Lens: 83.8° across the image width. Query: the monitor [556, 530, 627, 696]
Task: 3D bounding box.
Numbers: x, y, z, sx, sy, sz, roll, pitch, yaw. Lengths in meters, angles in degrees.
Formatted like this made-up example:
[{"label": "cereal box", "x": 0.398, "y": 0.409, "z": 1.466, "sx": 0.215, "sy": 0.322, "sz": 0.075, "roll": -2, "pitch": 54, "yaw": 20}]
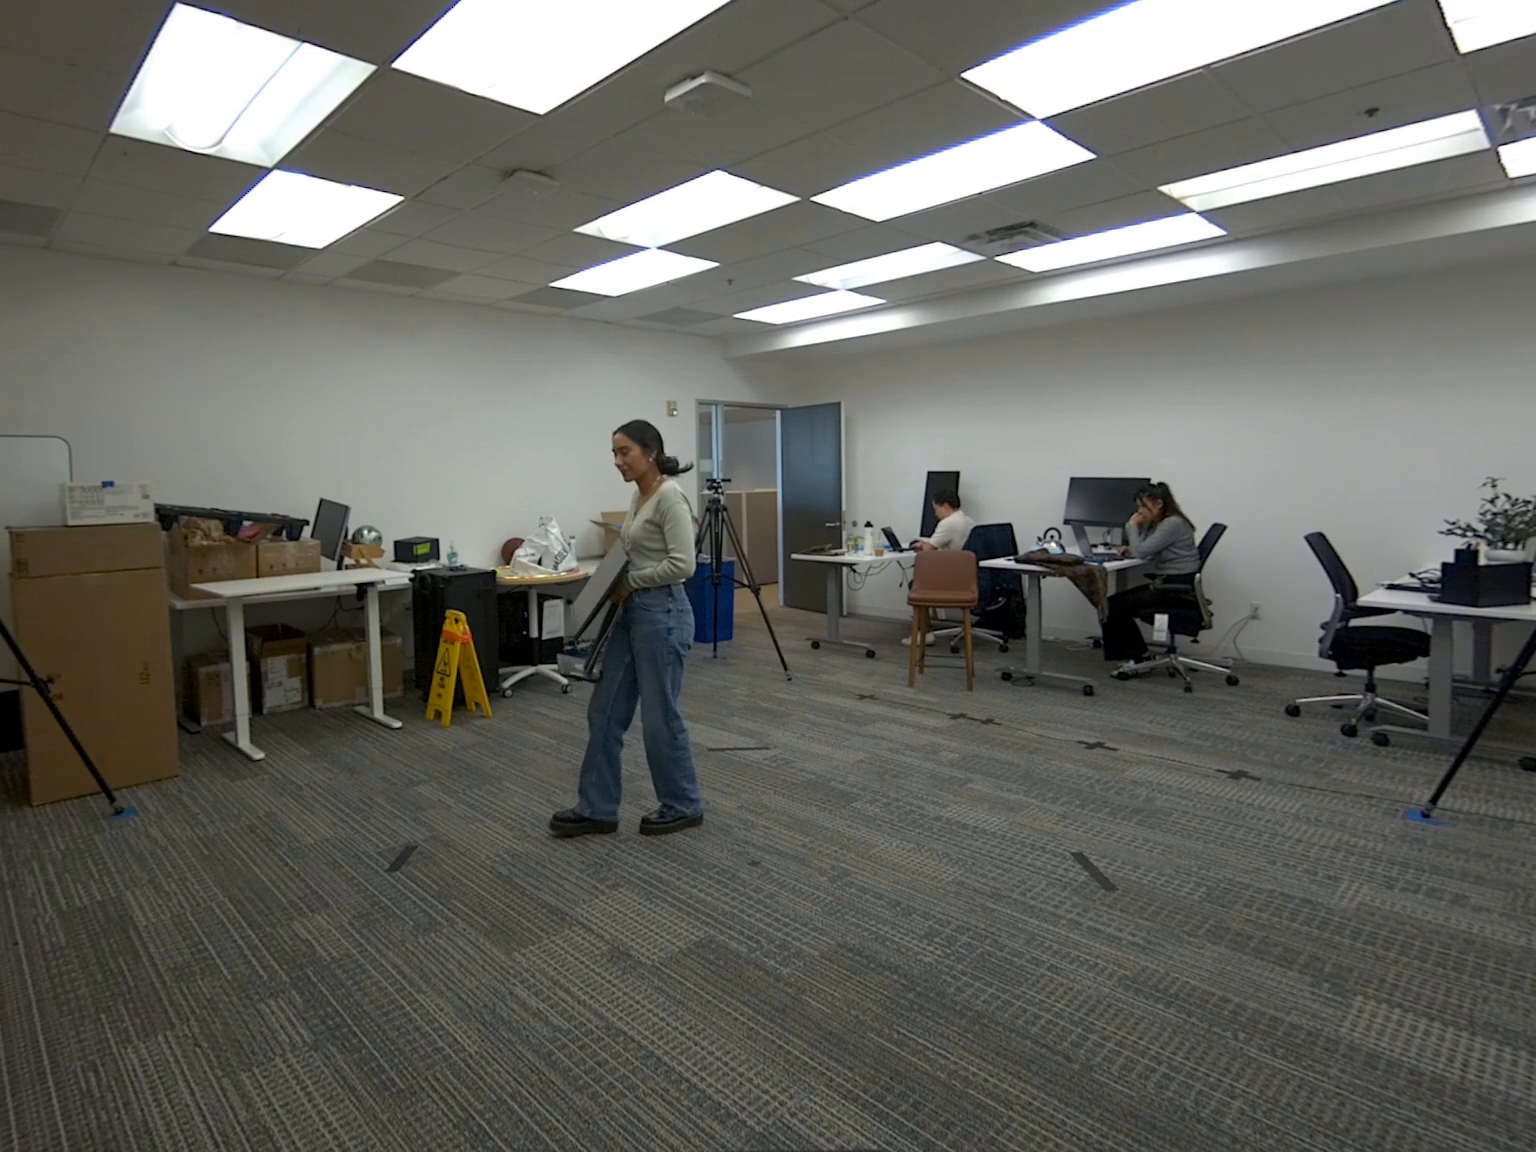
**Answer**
[{"label": "monitor", "x": -0.677, "y": 0.125, "z": 3.348, "sx": 0.172, "sy": 0.514, "sz": 0.540, "roll": 13, "pitch": 7, "yaw": -14}]
